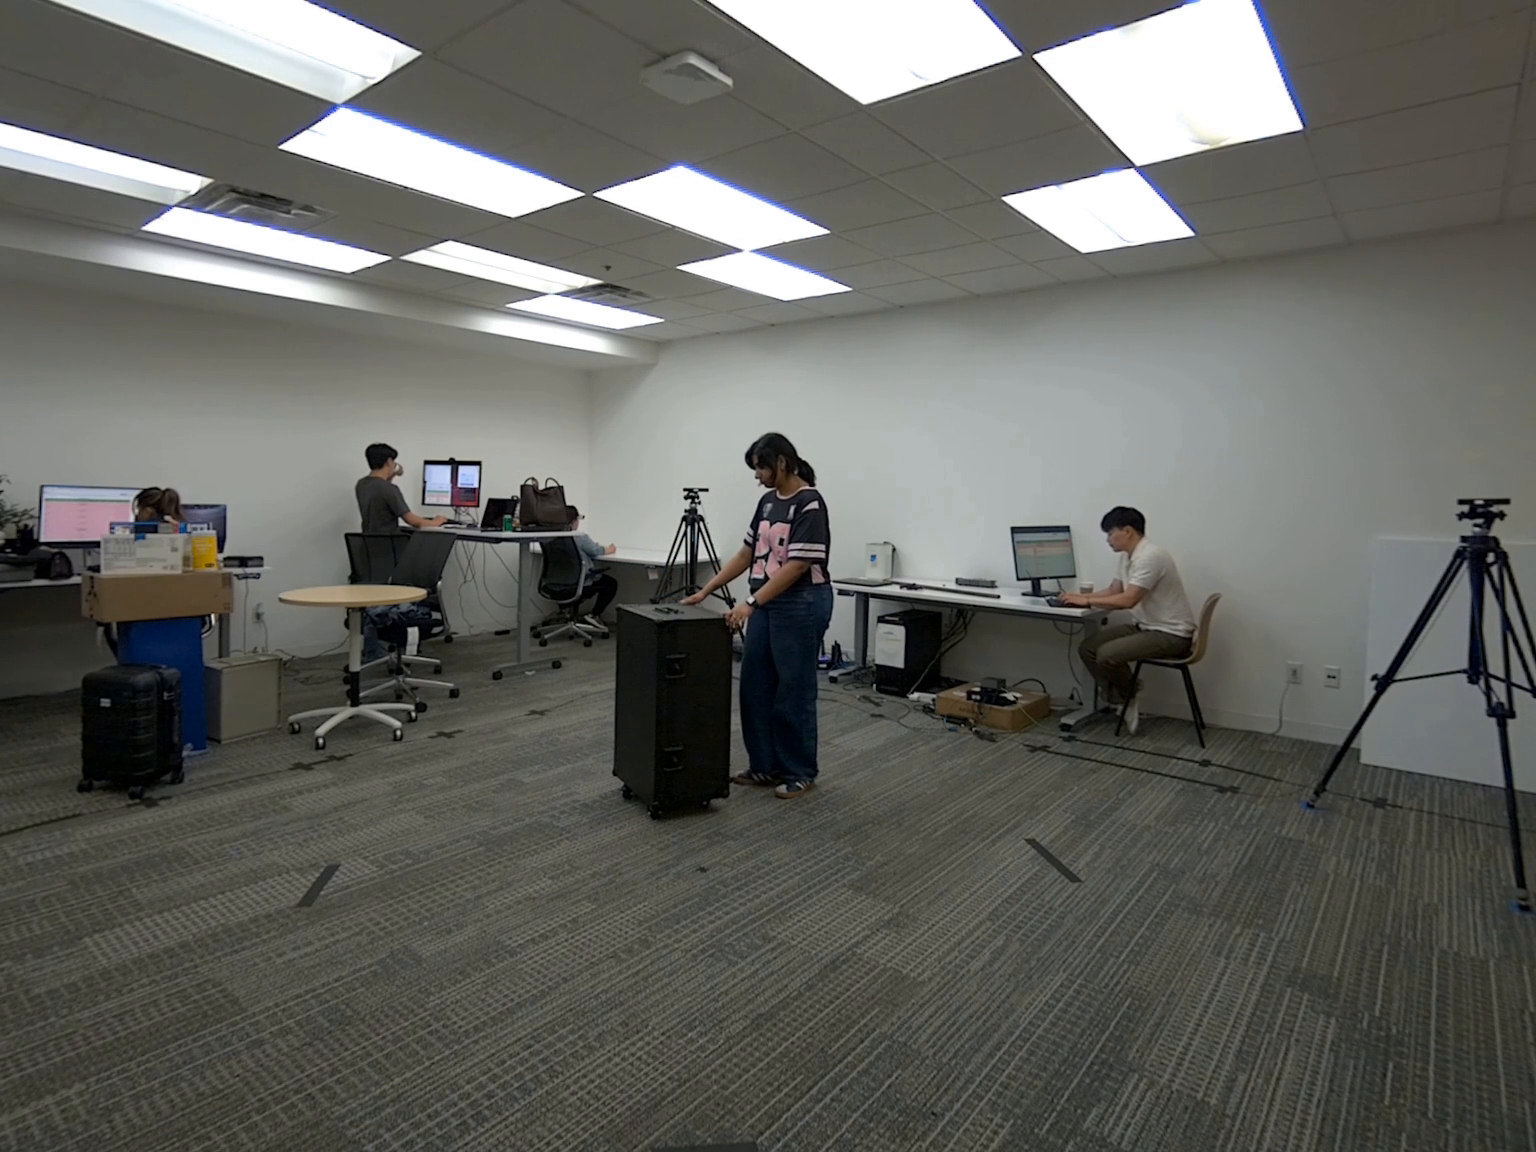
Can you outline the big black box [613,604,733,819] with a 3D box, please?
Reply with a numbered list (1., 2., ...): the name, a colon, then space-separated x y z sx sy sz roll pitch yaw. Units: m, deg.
1. big black box: -0.448 0.580 3.774 0.375 0.866 0.539 0 3 -31
